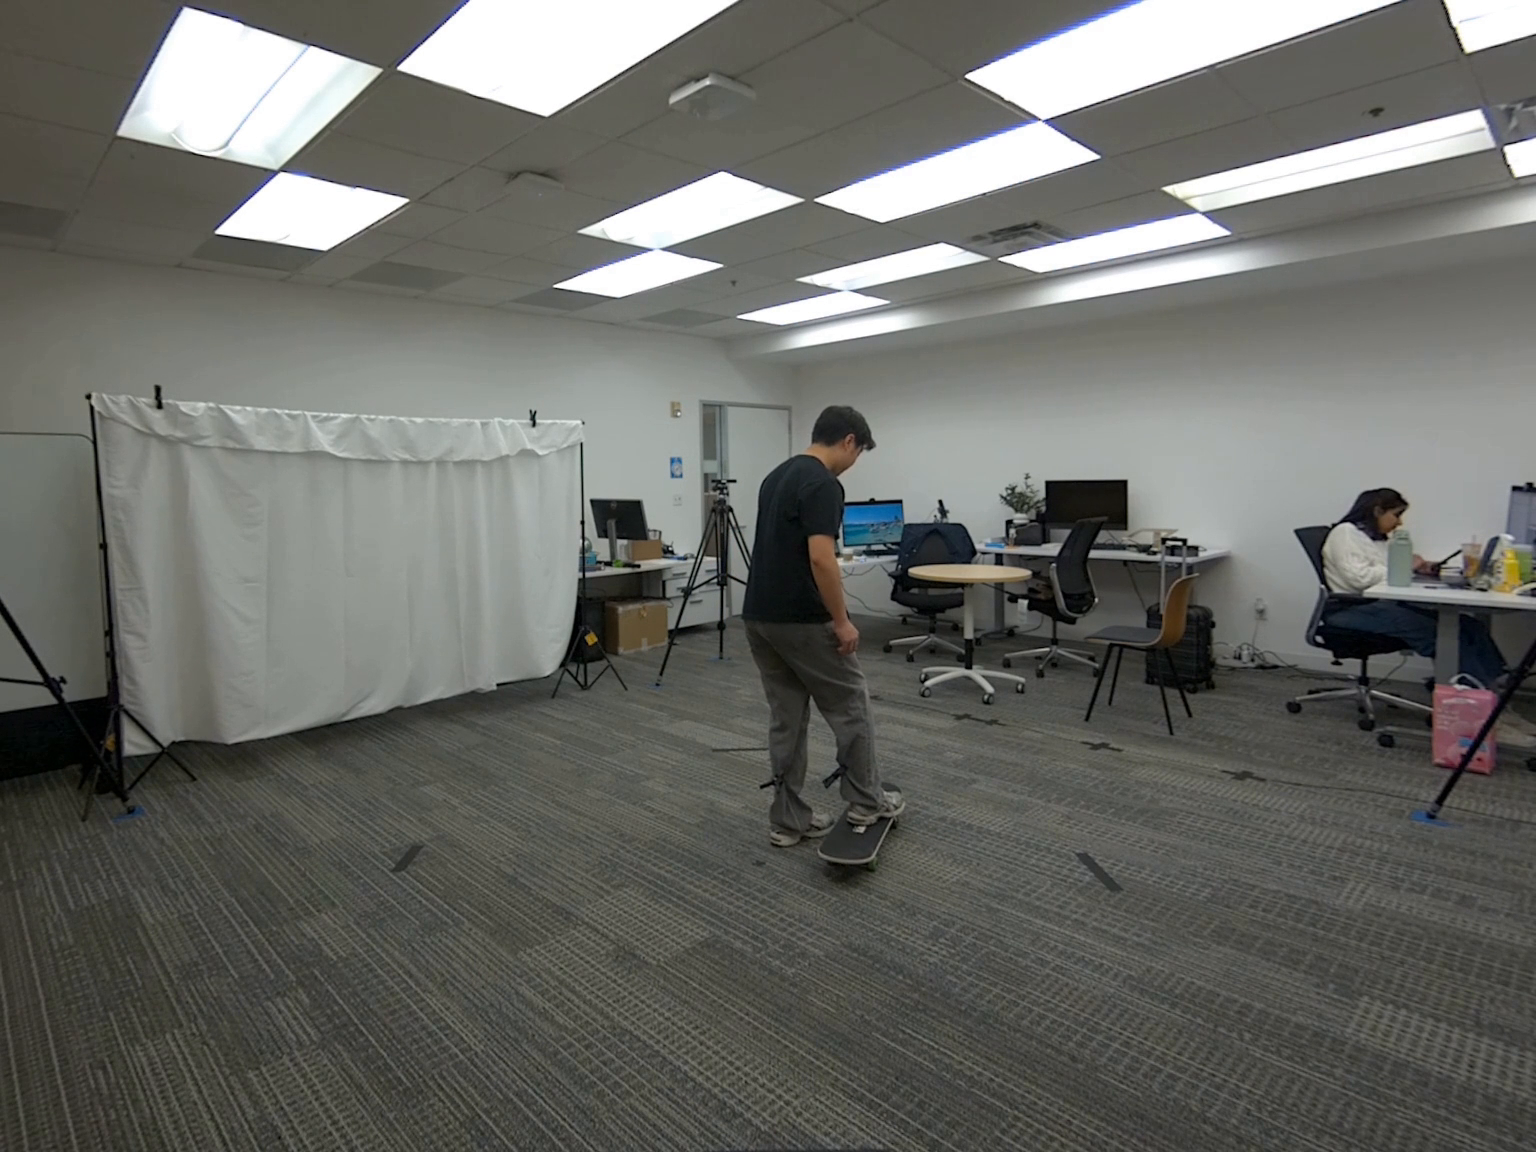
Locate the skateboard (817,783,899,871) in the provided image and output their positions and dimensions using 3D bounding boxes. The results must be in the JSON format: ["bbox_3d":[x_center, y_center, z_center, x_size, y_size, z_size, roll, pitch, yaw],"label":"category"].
[{"bbox_3d":[0.366,0.966,3.256,0.197,0.110,0.775,2,8,18],"label":"skateboard"}]
